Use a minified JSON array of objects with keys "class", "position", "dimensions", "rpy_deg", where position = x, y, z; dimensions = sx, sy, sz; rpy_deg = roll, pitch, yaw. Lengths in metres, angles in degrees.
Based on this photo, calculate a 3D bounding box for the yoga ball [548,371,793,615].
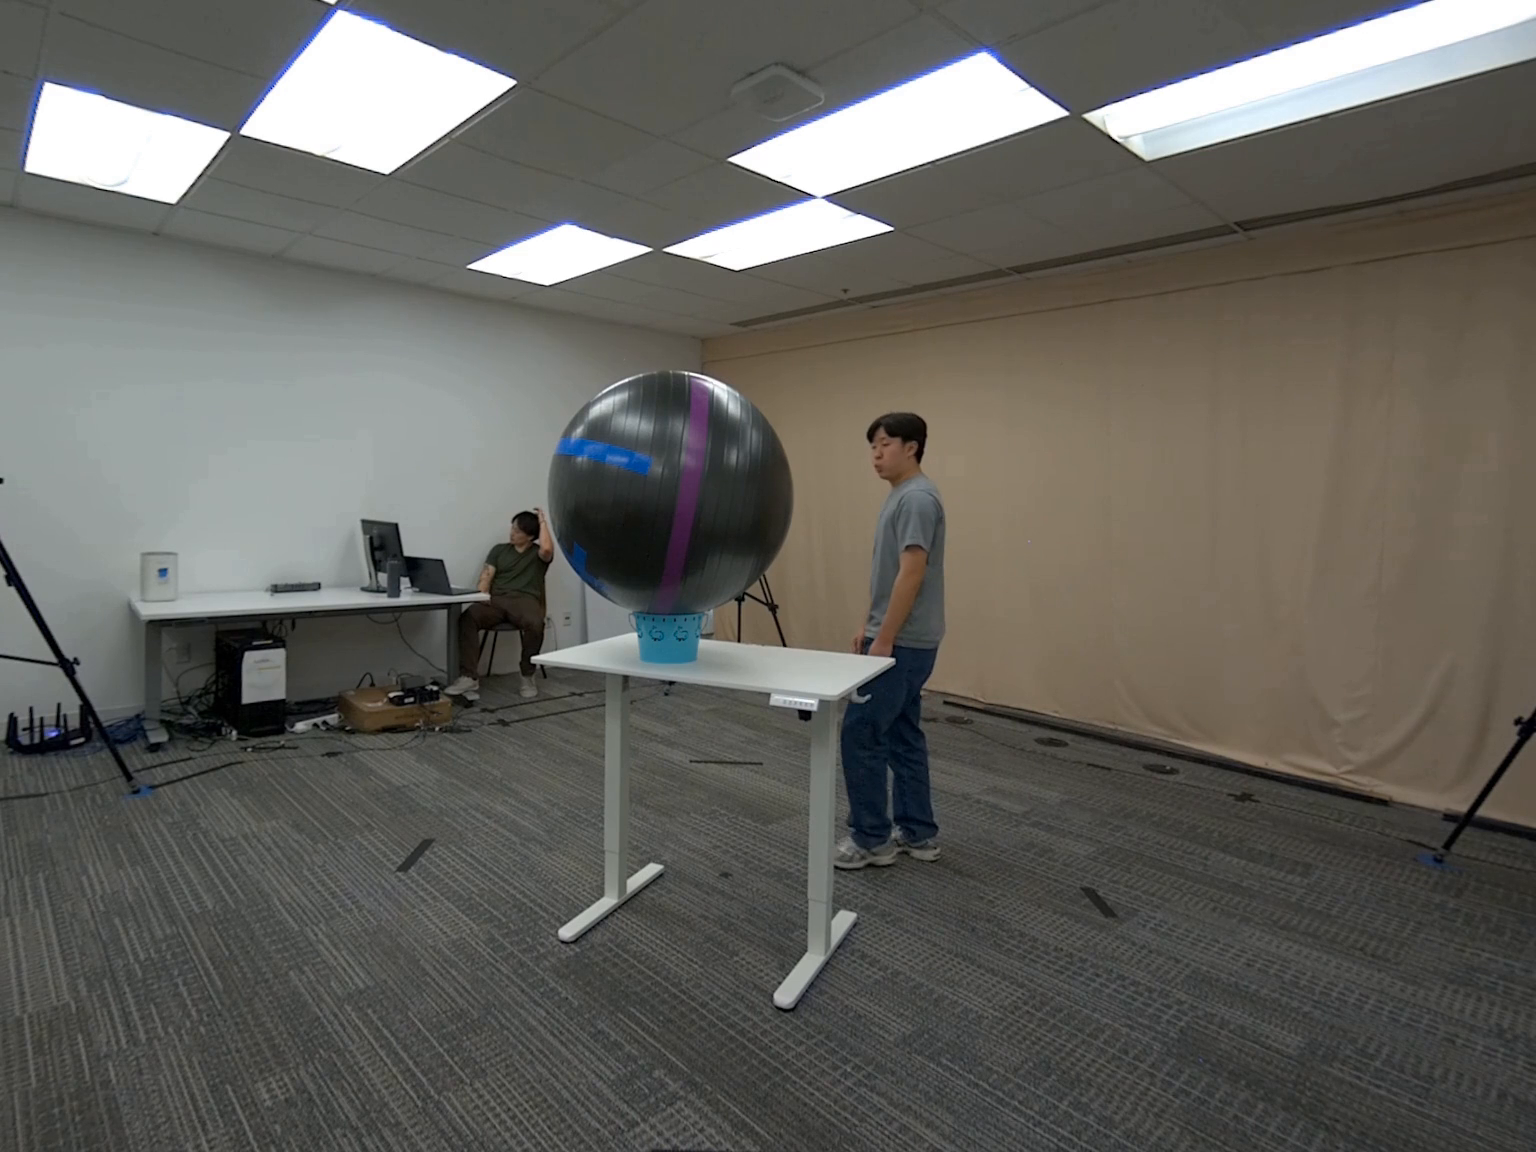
[{"class":"yoga ball","position":[-0.300,-0.249,2.631],"dimensions":[0.757,0.756,0.761],"rpy_deg":[1,4,-1]}]
